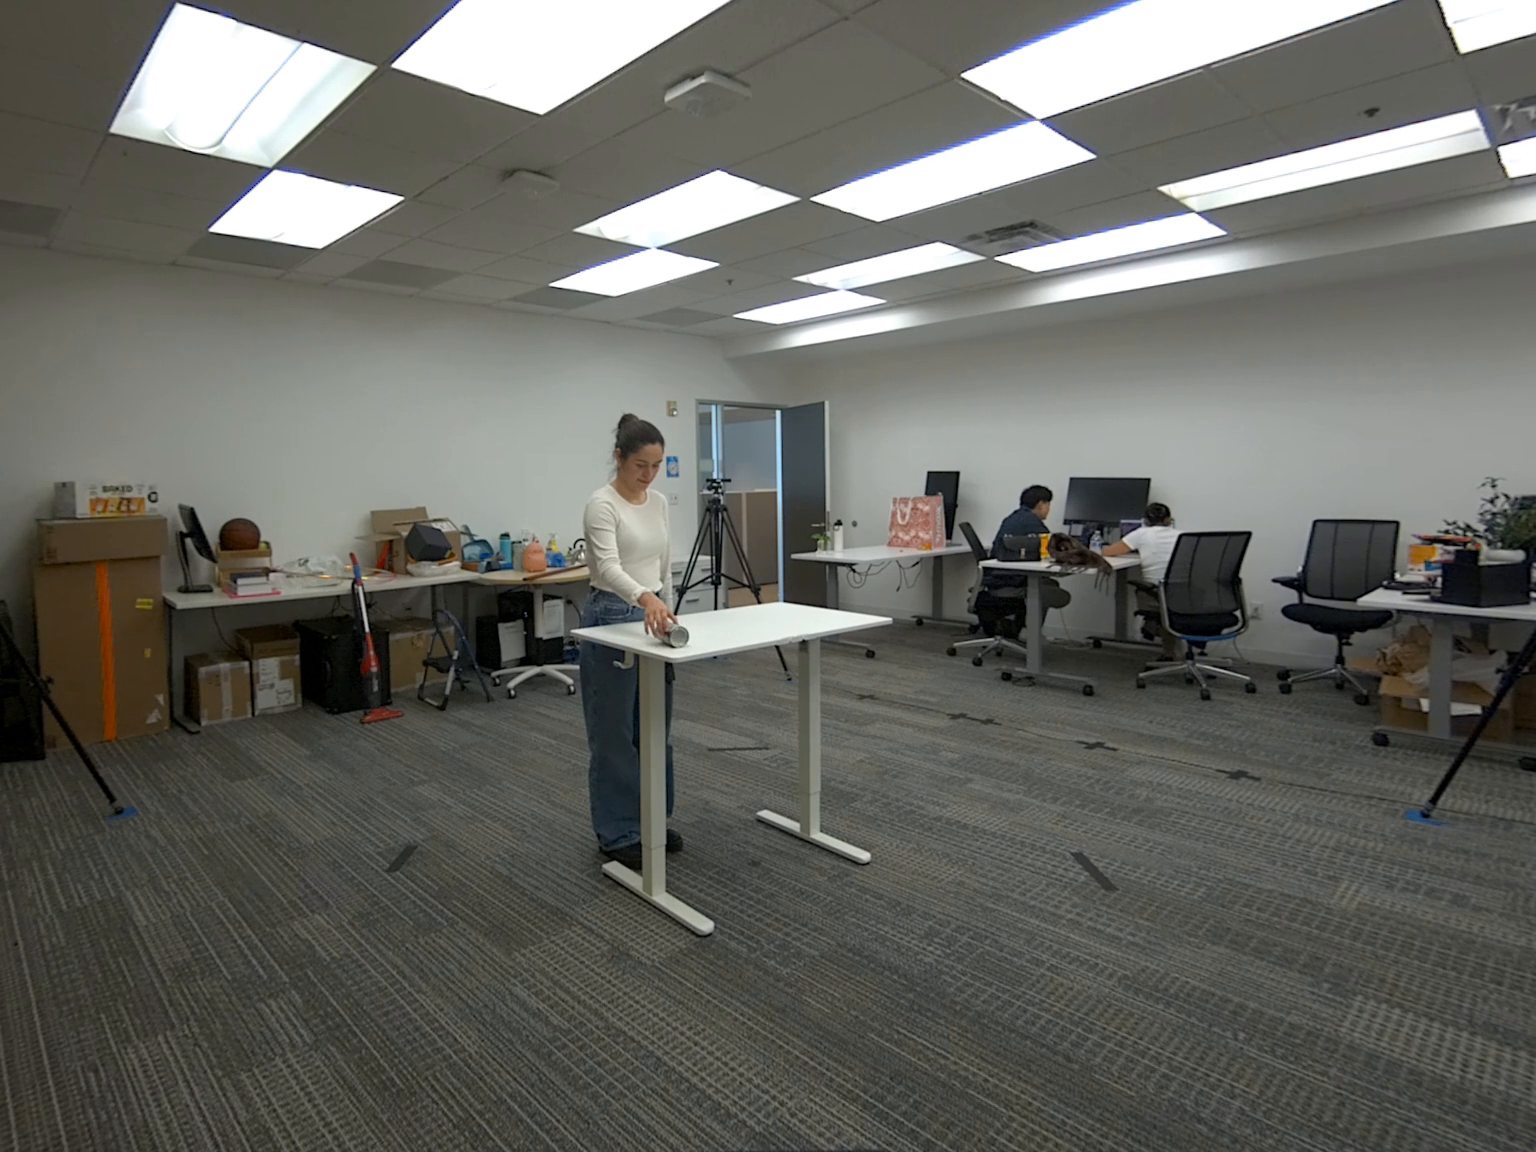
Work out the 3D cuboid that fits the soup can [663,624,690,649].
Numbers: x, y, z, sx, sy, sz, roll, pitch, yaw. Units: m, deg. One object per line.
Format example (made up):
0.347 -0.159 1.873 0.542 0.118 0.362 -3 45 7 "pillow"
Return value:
-0.294 0.180 2.674 0.066 0.067 0.124 -3 3 -20 "soup can"
